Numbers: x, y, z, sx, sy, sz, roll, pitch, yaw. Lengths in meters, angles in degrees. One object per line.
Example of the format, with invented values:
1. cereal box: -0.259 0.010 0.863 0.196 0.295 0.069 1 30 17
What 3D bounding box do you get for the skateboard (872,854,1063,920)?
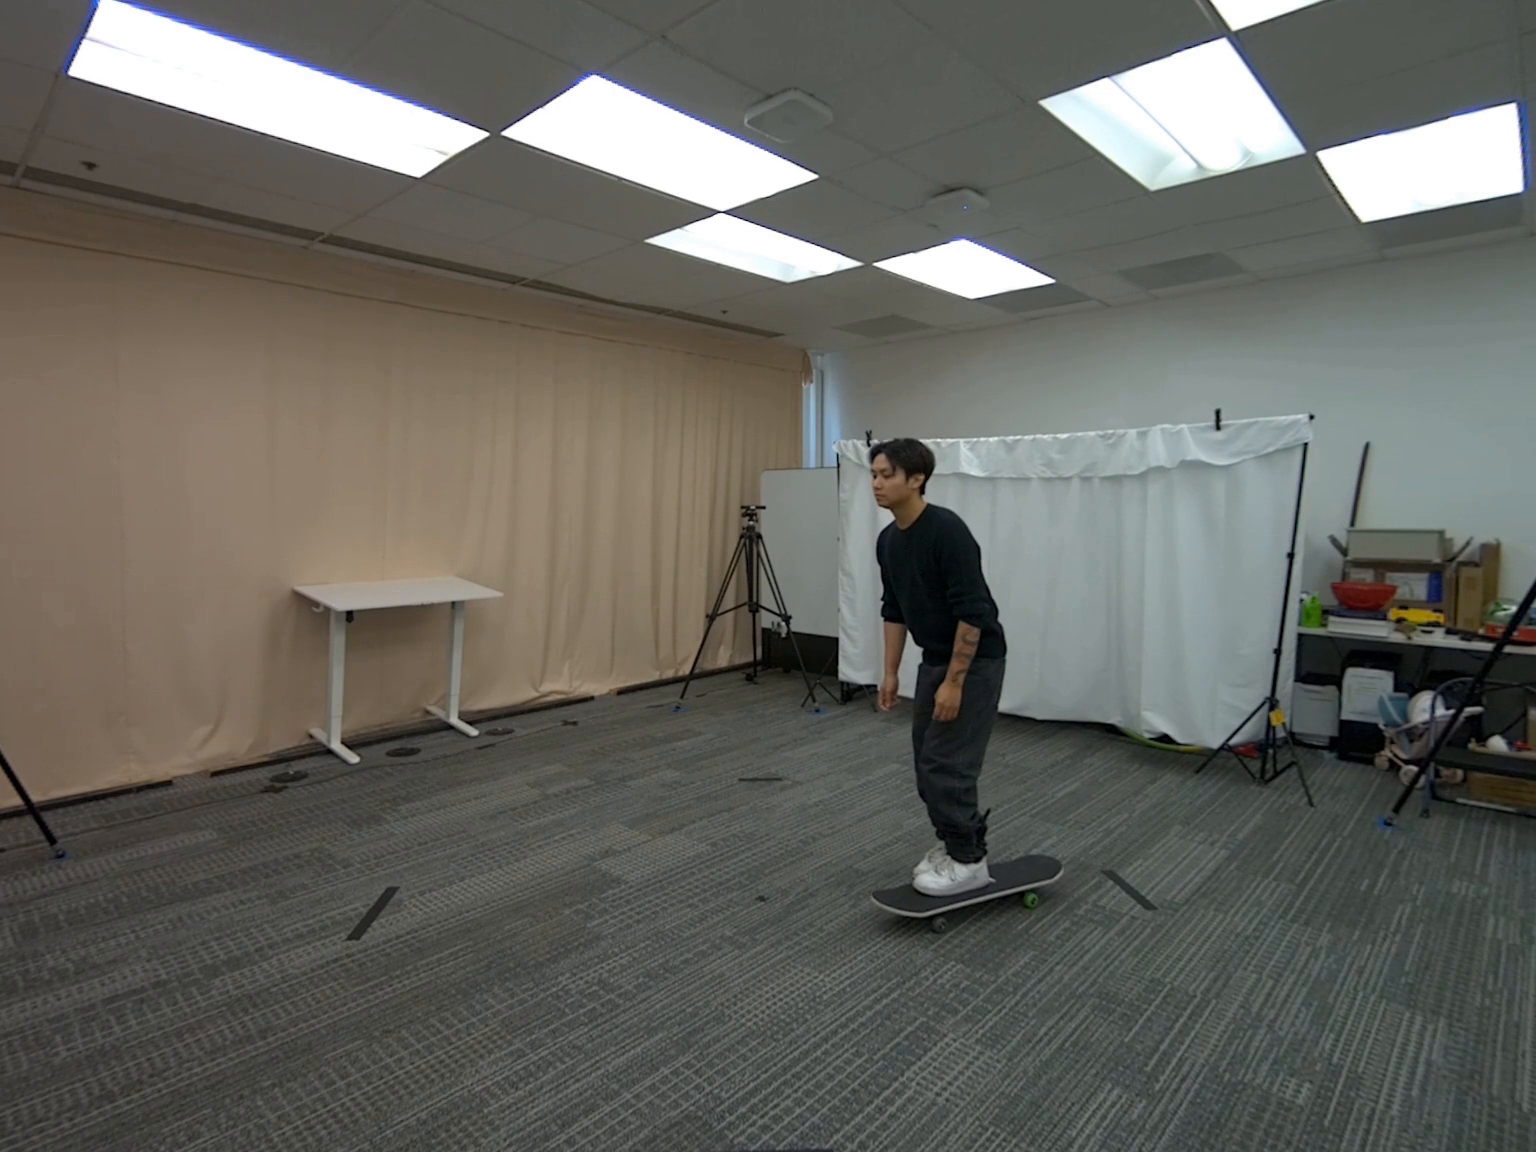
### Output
1. skateboard: 0.700 1.091 2.899 0.766 0.110 0.199 -2 4 -26
